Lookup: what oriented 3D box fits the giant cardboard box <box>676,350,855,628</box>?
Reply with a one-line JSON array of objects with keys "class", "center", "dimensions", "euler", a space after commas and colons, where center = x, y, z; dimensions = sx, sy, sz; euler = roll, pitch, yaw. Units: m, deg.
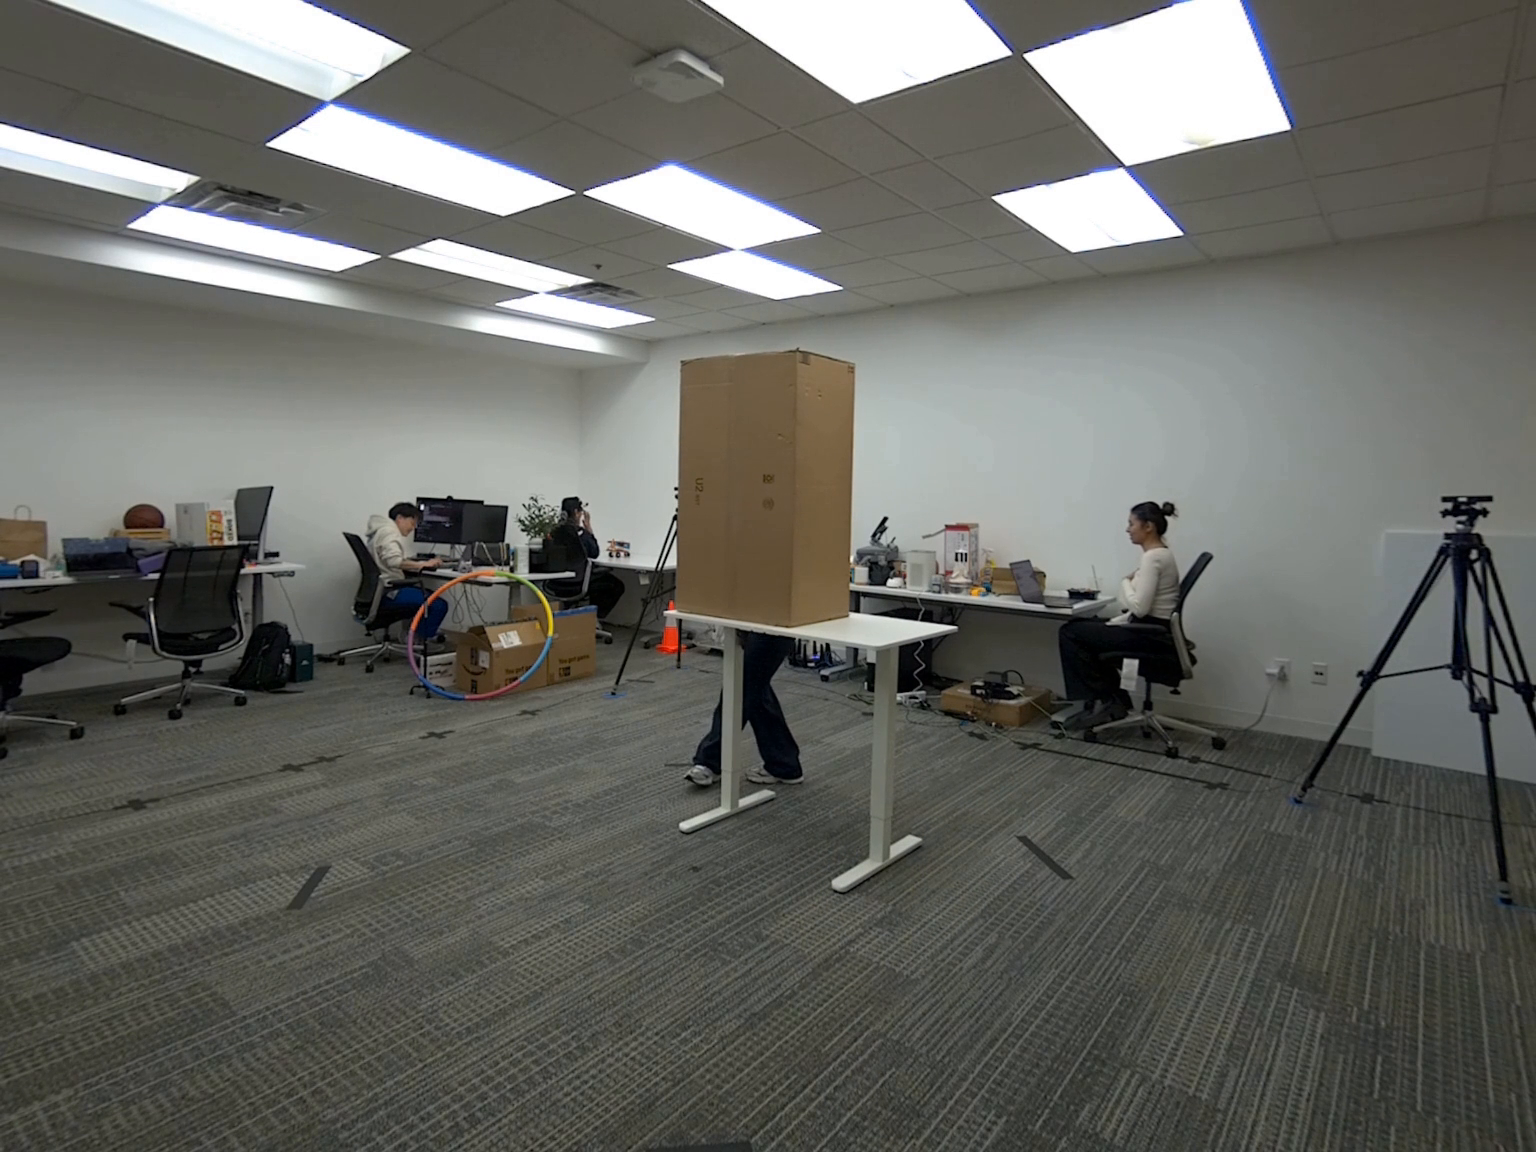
[{"class": "giant cardboard box", "center": [0.006, -0.355, 3.455], "dimensions": [0.597, 1.023, 0.413], "euler": [4, 4, 38]}]
